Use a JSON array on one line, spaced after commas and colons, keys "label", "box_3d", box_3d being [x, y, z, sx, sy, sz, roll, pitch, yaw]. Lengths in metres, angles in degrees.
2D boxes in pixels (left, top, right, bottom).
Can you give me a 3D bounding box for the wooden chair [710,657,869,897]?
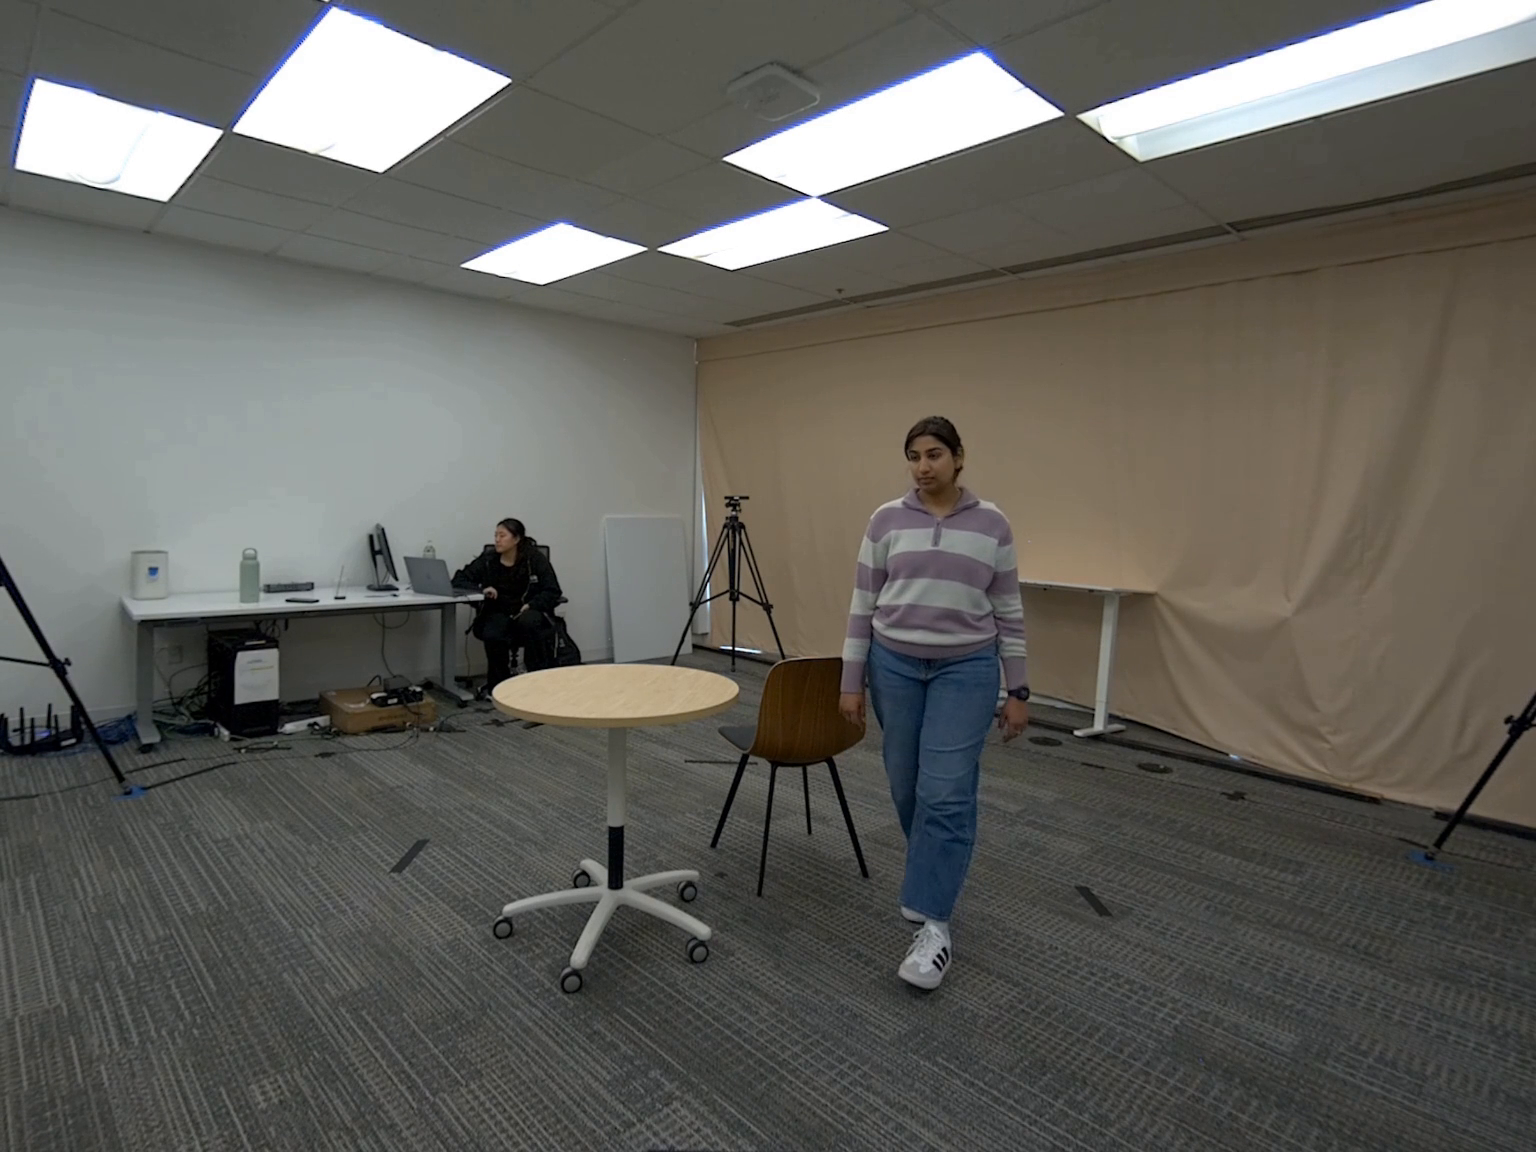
[{"label": "wooden chair", "box_3d": [0.074, 0.672, 3.208, 0.470, 0.873, 0.535, 0, 8, -24]}]
